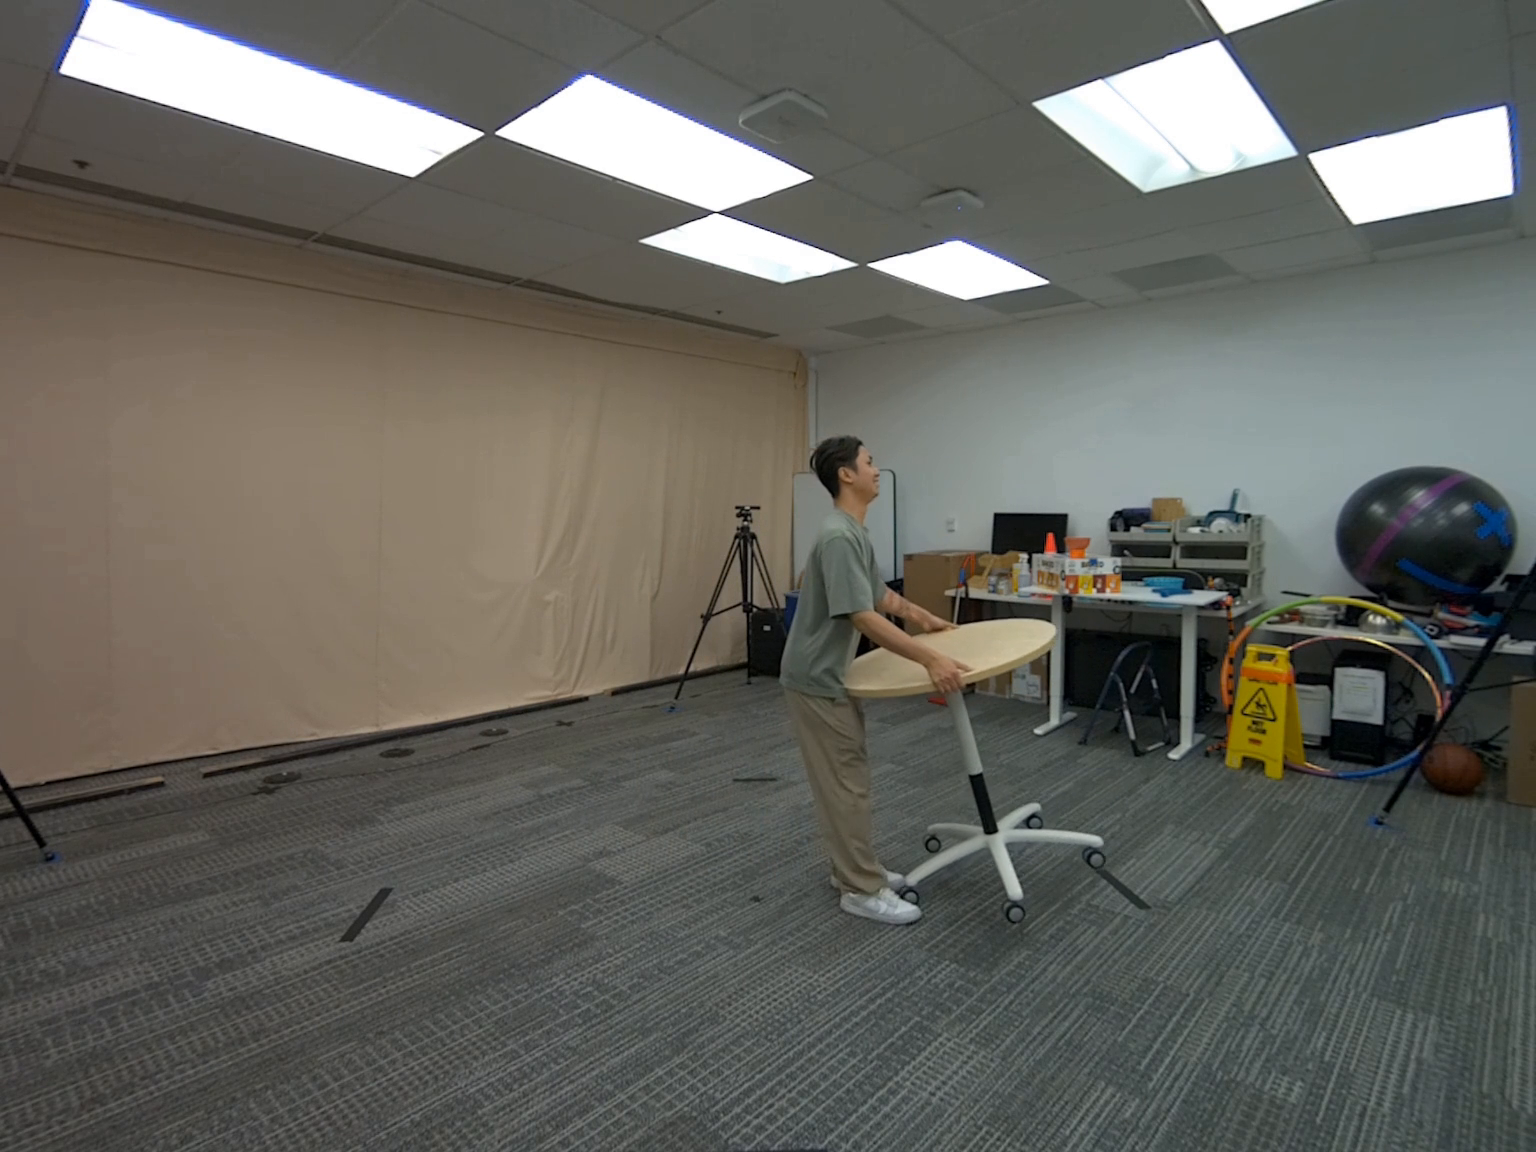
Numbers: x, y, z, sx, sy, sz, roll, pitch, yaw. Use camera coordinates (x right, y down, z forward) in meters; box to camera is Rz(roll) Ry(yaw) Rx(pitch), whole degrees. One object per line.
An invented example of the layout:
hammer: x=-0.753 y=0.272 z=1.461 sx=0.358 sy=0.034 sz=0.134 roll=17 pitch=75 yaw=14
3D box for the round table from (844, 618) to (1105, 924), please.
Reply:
round table: x=0.718 y=0.652 z=2.932 sx=0.785 sy=0.784 sz=0.787 roll=-16 pitch=4 yaw=-1
